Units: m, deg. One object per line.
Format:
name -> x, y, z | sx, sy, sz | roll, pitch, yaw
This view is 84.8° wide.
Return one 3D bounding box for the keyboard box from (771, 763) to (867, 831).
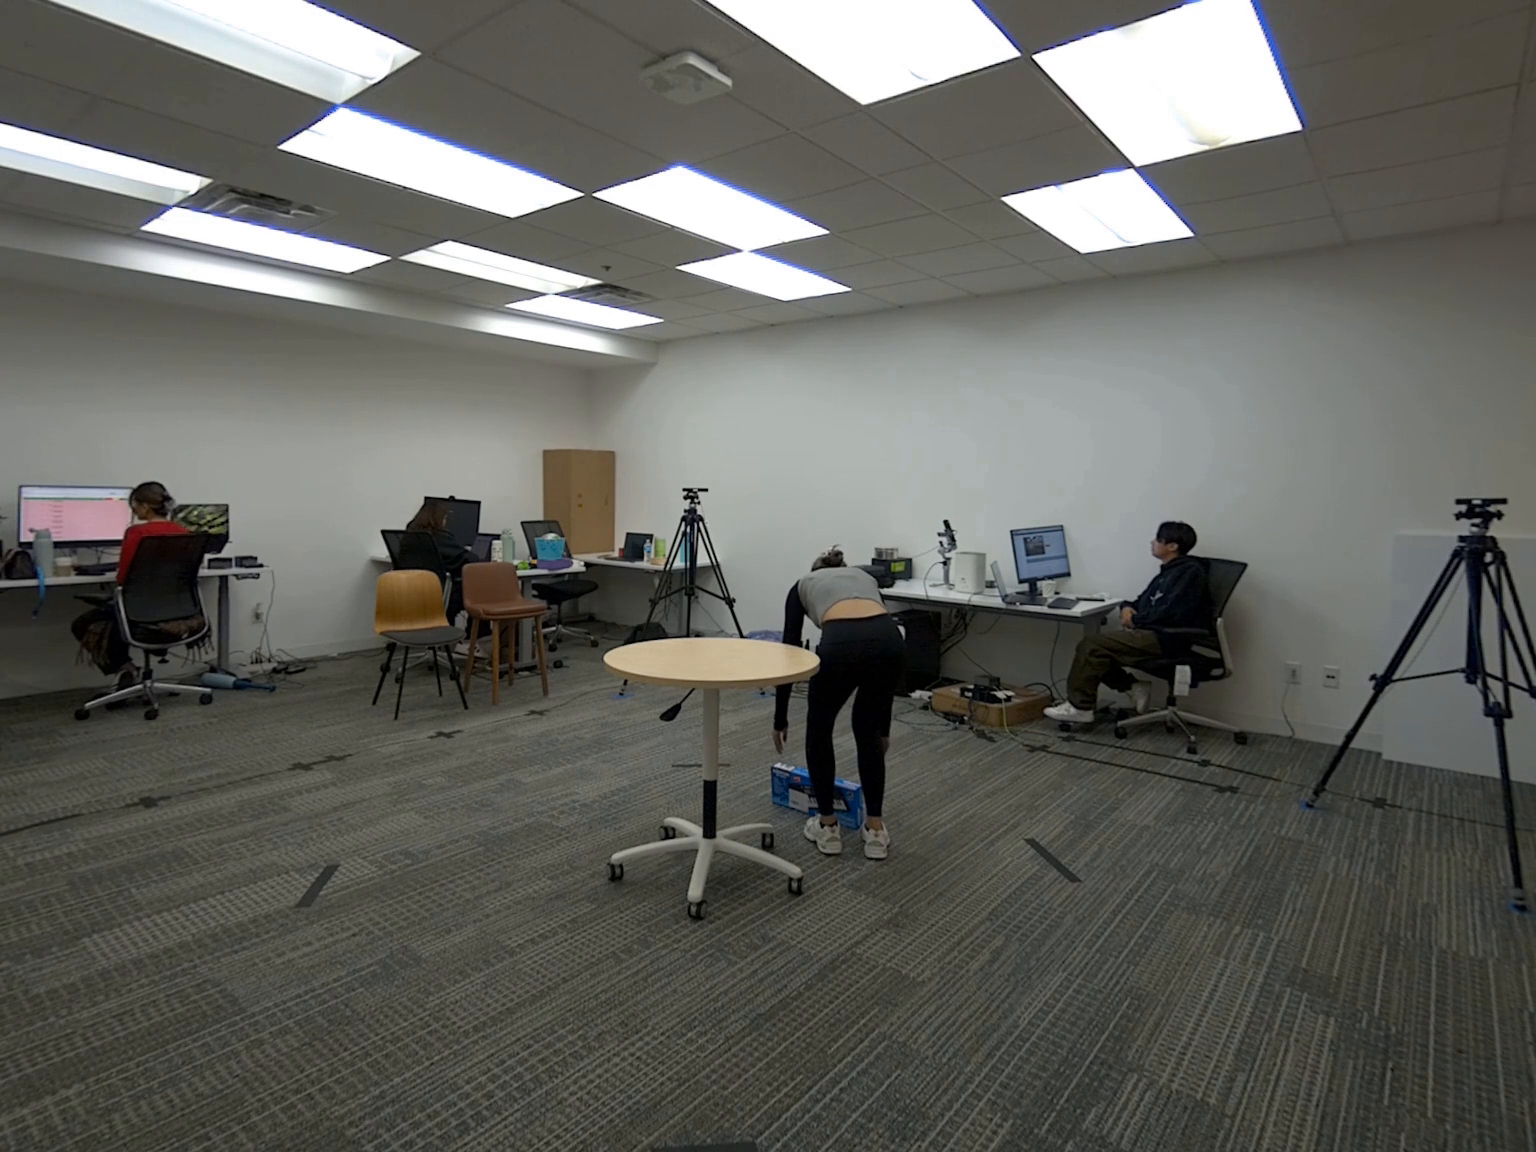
keyboard box -> 0.196, 0.937, 3.657 | 0.452, 0.174, 0.057 | 6, 11, 39
